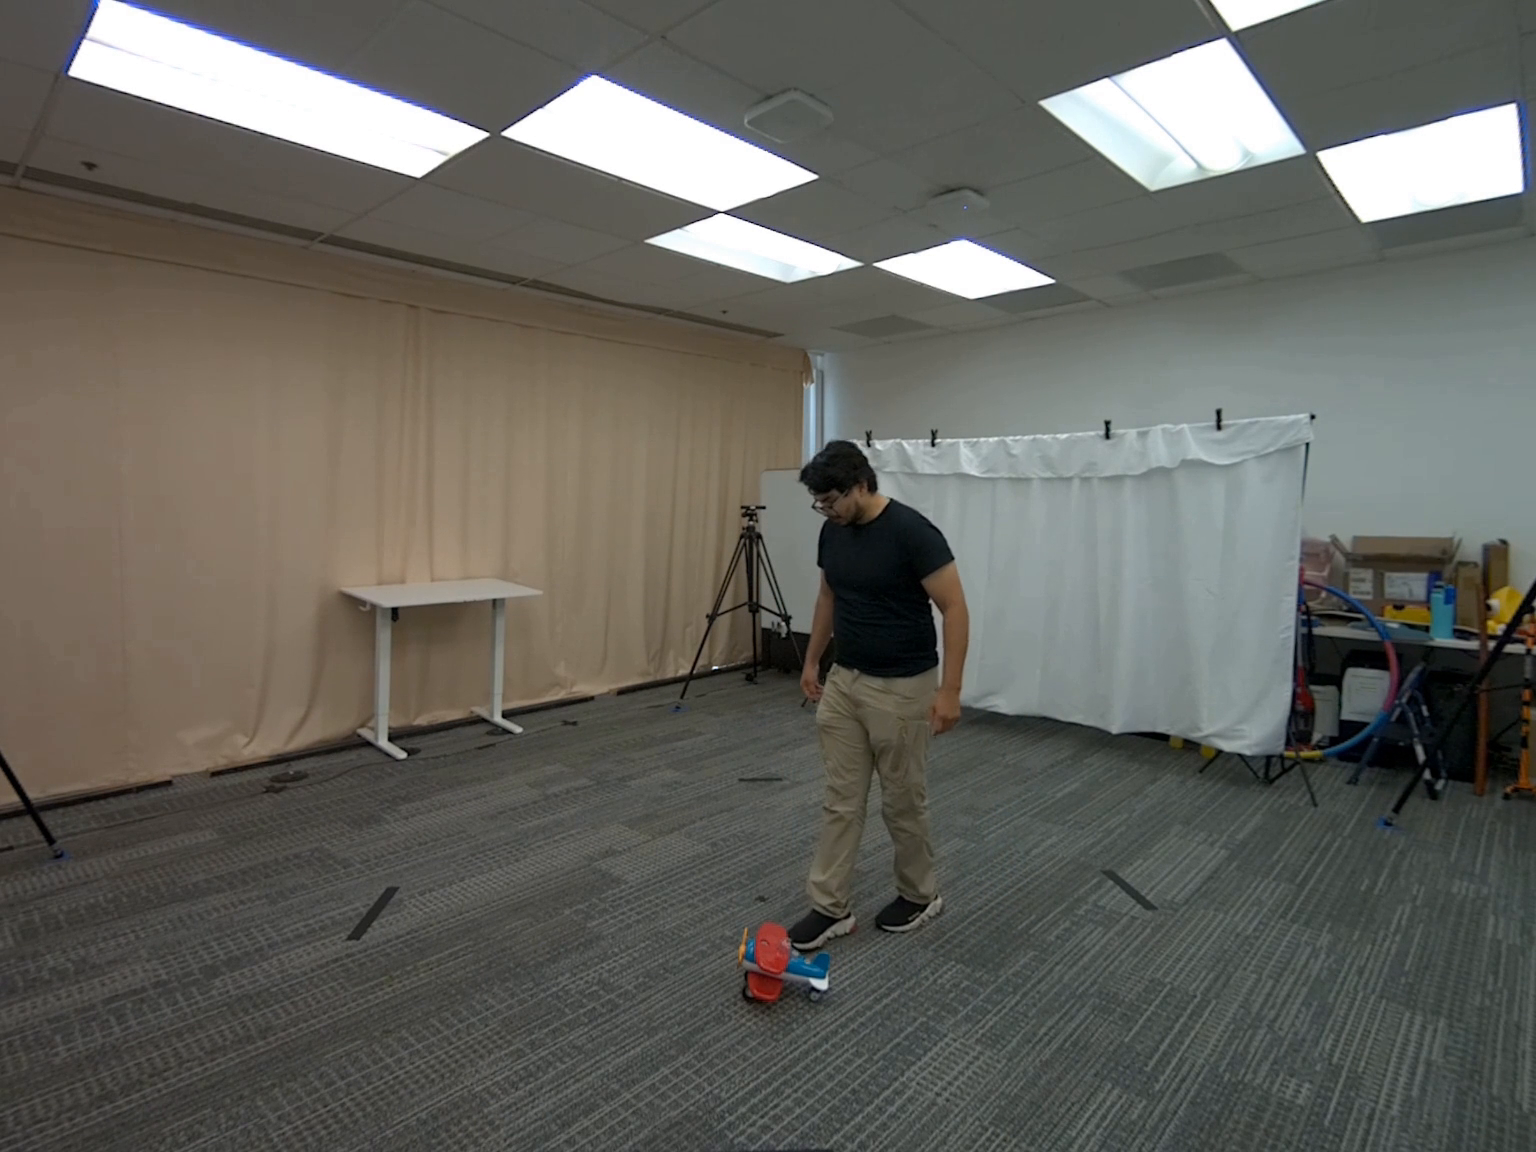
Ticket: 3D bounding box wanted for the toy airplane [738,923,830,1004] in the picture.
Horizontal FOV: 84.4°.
[{"bbox_3d":[0.041,1.117,2.413,0.253,0.156,0.257,-4,6,-24],"label":"toy airplane"}]
